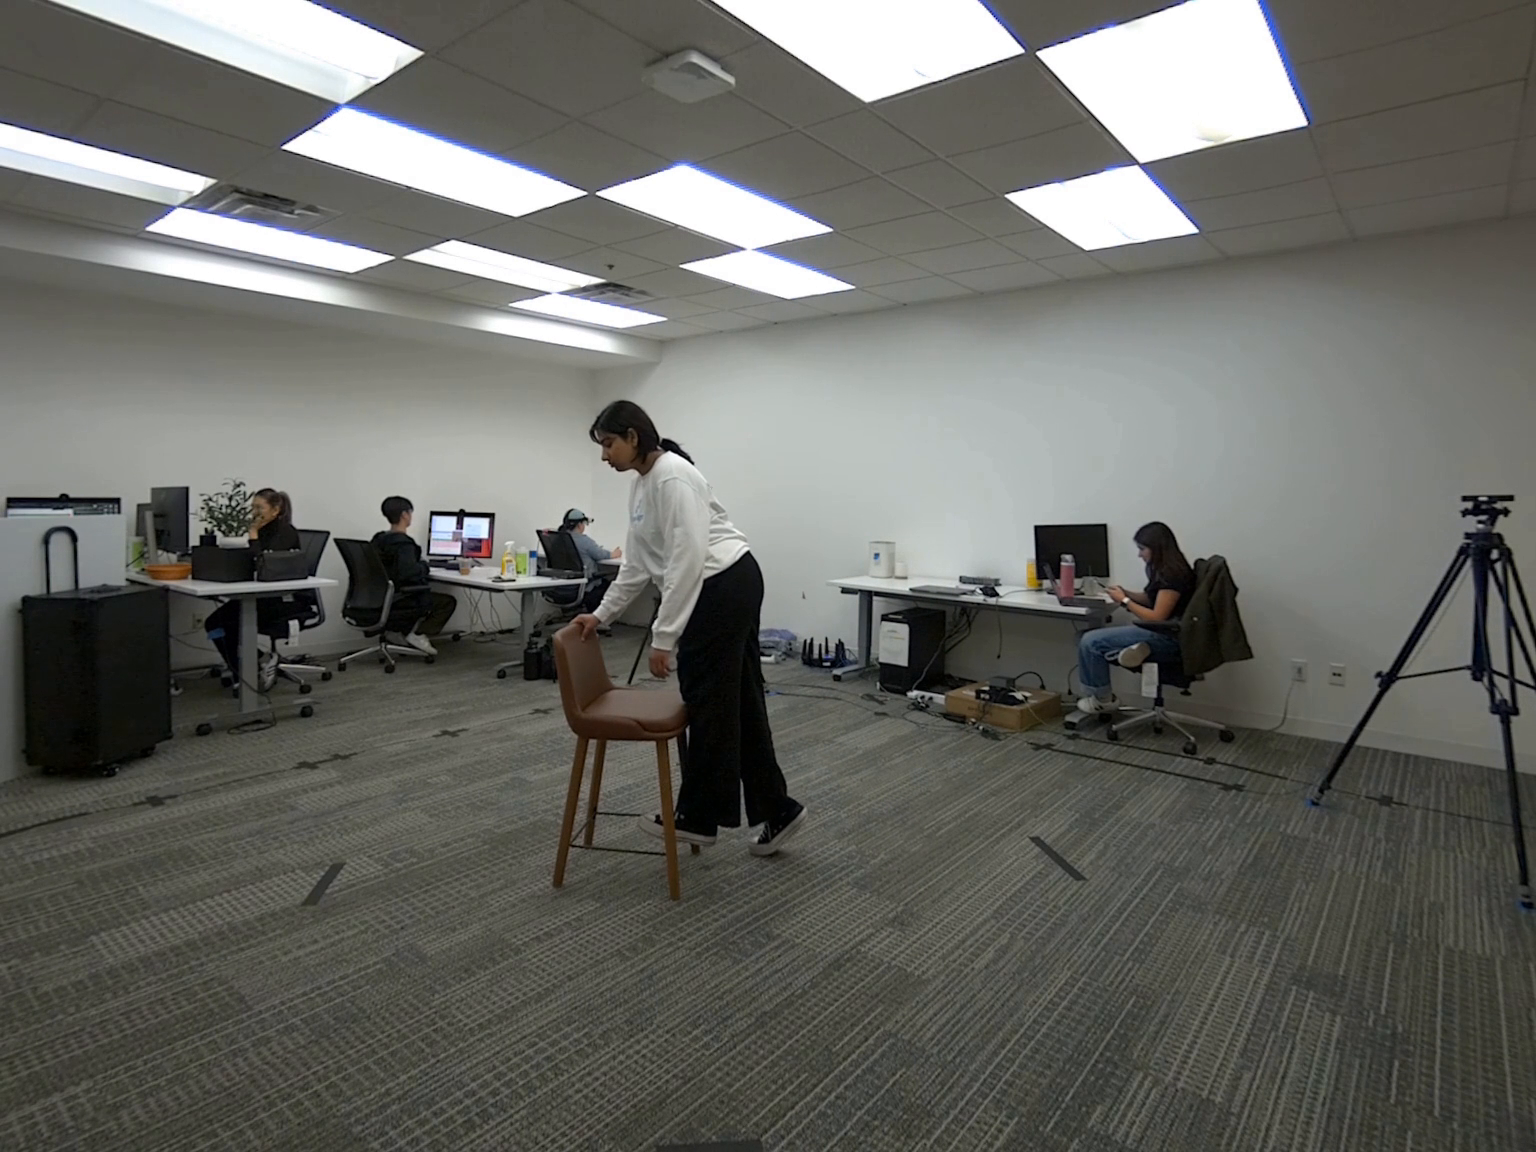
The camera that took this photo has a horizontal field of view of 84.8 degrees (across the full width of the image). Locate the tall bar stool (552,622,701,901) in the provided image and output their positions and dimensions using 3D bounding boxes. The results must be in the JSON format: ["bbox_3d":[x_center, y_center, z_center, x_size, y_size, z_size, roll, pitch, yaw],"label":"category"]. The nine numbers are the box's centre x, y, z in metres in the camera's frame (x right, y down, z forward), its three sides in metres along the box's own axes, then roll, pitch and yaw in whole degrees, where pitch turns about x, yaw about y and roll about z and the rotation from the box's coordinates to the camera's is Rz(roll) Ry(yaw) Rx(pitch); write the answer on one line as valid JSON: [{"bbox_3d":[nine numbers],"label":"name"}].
[{"bbox_3d":[-0.511,0.632,3.074,0.472,0.888,0.453,0,3,9],"label":"tall bar stool"}]
